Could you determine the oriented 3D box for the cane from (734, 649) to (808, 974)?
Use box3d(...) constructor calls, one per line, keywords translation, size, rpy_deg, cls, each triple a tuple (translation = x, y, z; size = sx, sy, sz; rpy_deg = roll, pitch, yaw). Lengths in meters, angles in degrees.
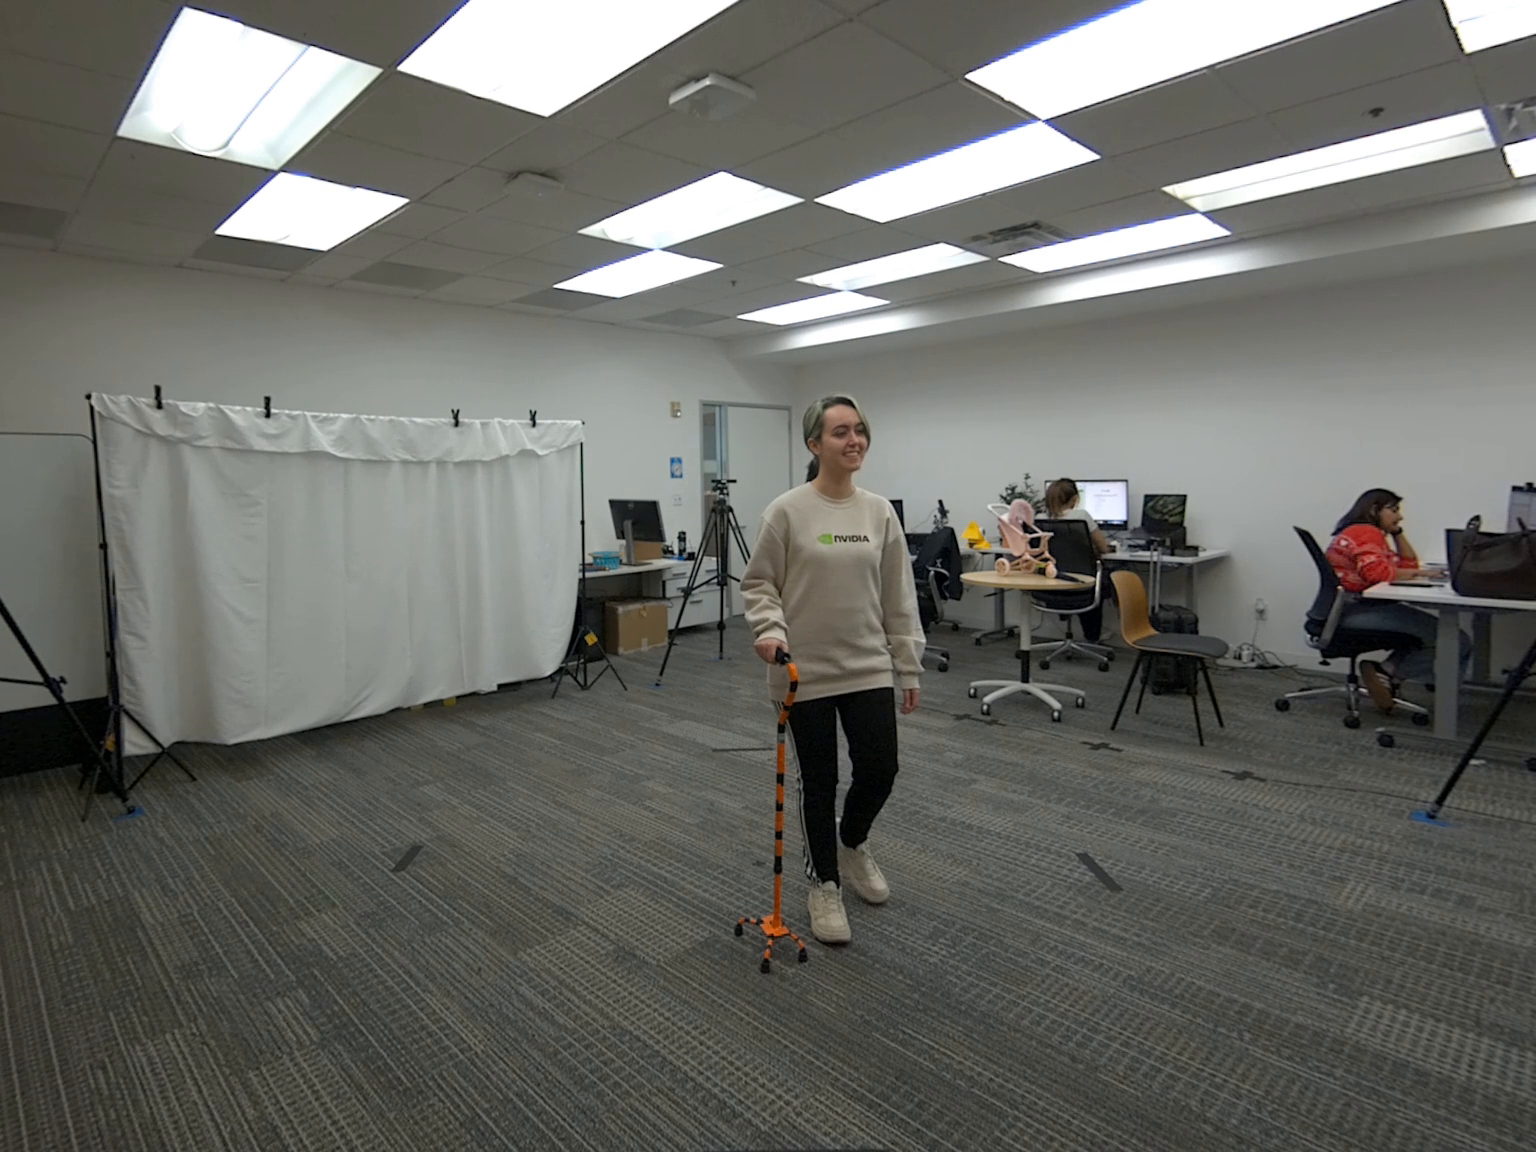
box3d(translation=(0.021, 0.663, 2.449), size=(0.148, 0.899, 0.213), rpy_deg=(-5, 12, -30), cls="cane")
